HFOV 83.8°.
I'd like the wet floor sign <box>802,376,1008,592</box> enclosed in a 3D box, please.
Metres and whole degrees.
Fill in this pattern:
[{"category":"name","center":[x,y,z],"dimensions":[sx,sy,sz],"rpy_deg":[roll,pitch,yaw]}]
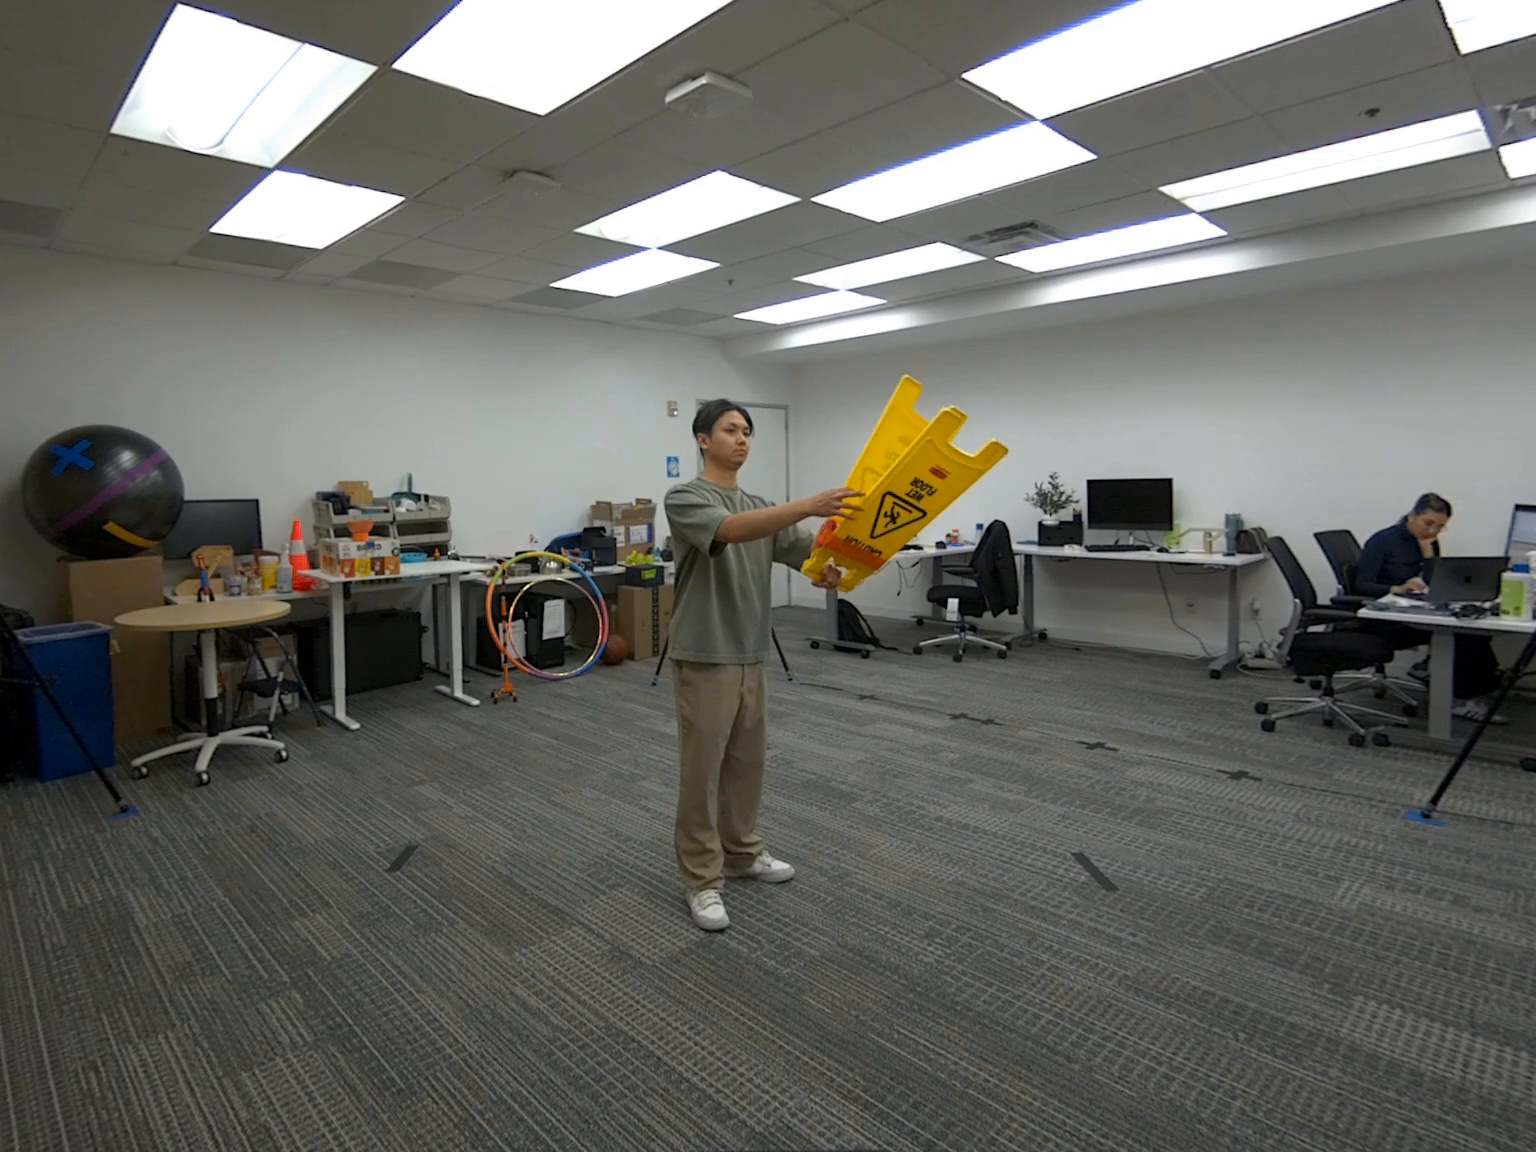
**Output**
[{"category":"wet floor sign","center":[0.364,-0.221,2.533],"dimensions":[0.273,0.644,0.300],"rpy_deg":[26,21,-31]}]
